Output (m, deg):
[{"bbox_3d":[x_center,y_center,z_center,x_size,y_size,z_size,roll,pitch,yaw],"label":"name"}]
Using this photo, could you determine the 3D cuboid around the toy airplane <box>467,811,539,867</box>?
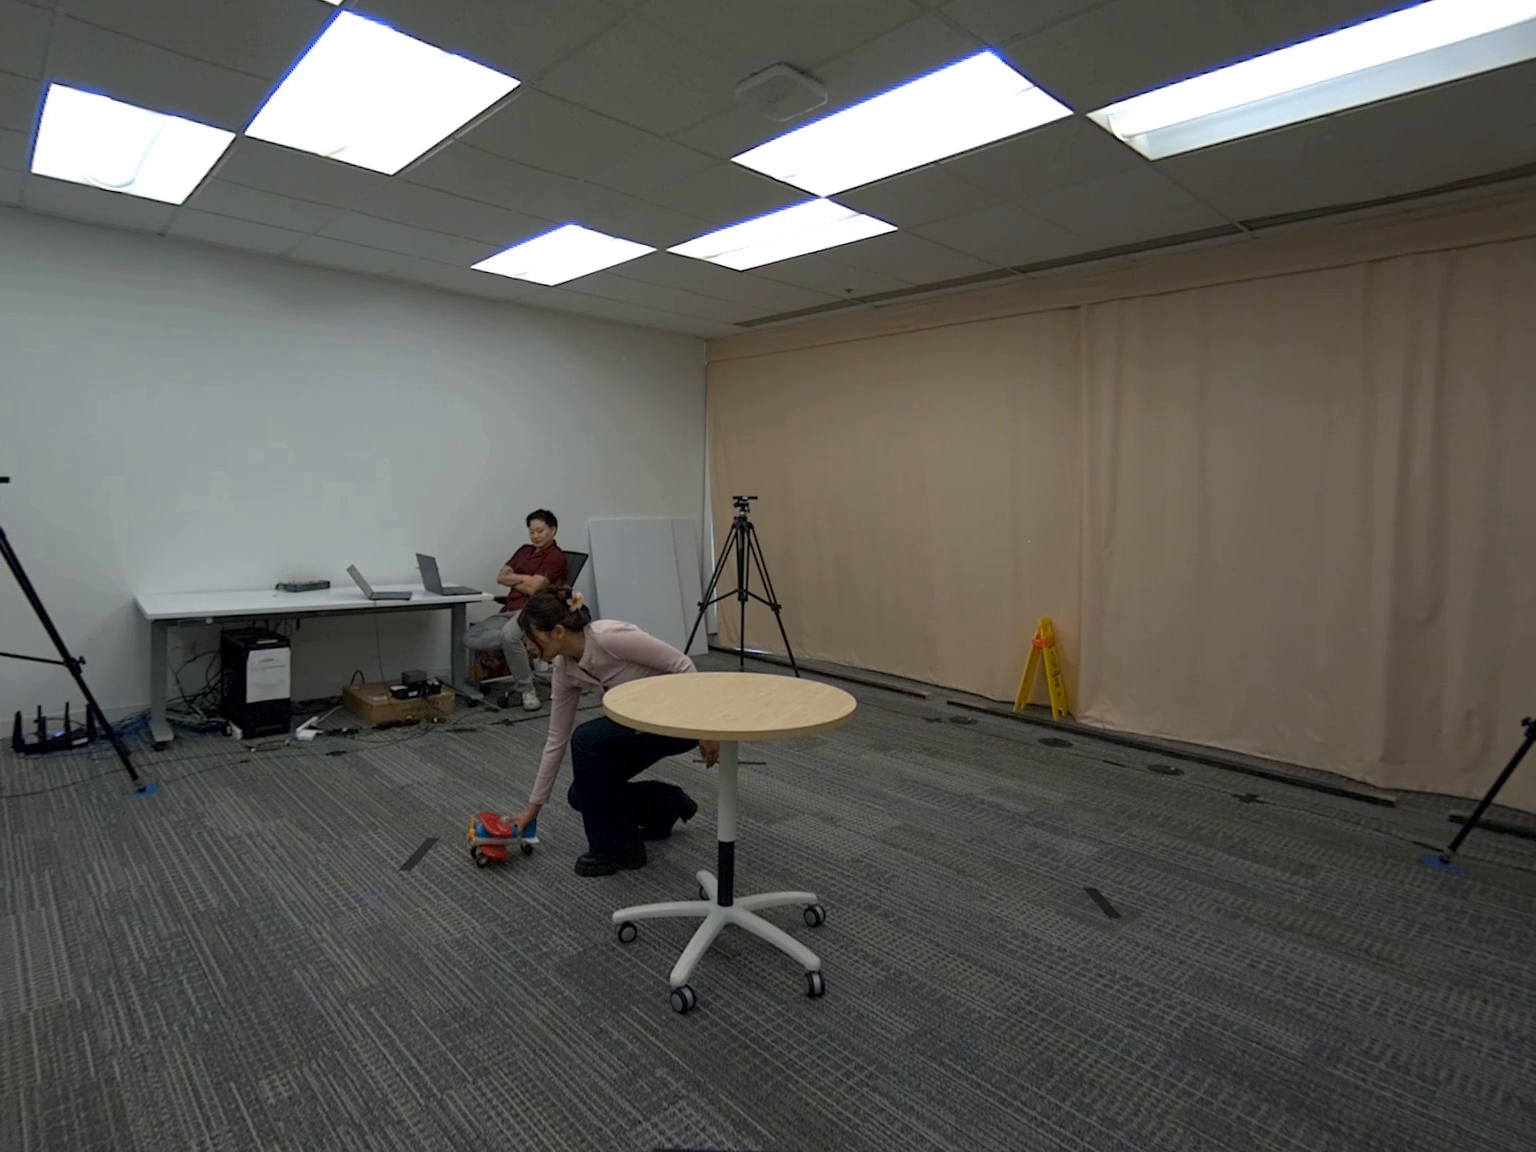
[{"bbox_3d":[-1.023,0.996,3.209,0.256,0.156,0.254,2,6,31],"label":"toy airplane"}]
